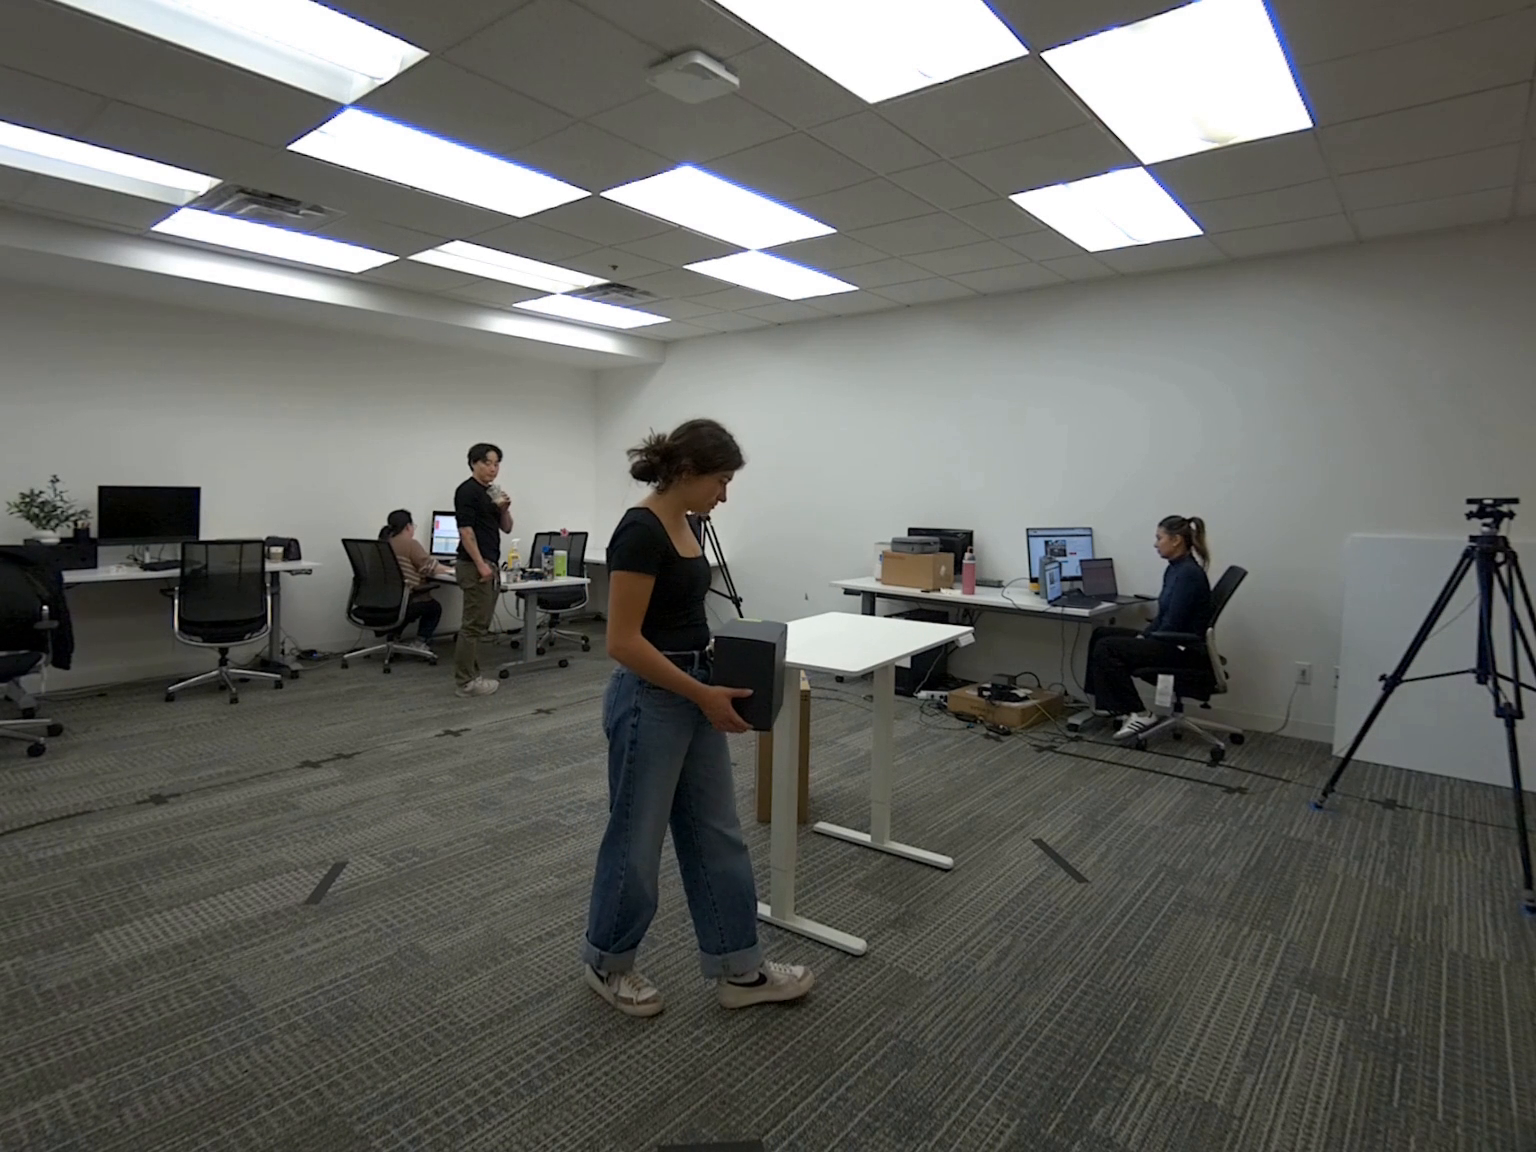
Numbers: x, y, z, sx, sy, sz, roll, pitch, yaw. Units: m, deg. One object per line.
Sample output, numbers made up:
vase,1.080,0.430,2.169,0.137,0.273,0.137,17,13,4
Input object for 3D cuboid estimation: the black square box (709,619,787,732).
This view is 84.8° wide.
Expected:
black square box,-0.048,0.242,2.182,0.158,0.226,0.216,4,8,9
